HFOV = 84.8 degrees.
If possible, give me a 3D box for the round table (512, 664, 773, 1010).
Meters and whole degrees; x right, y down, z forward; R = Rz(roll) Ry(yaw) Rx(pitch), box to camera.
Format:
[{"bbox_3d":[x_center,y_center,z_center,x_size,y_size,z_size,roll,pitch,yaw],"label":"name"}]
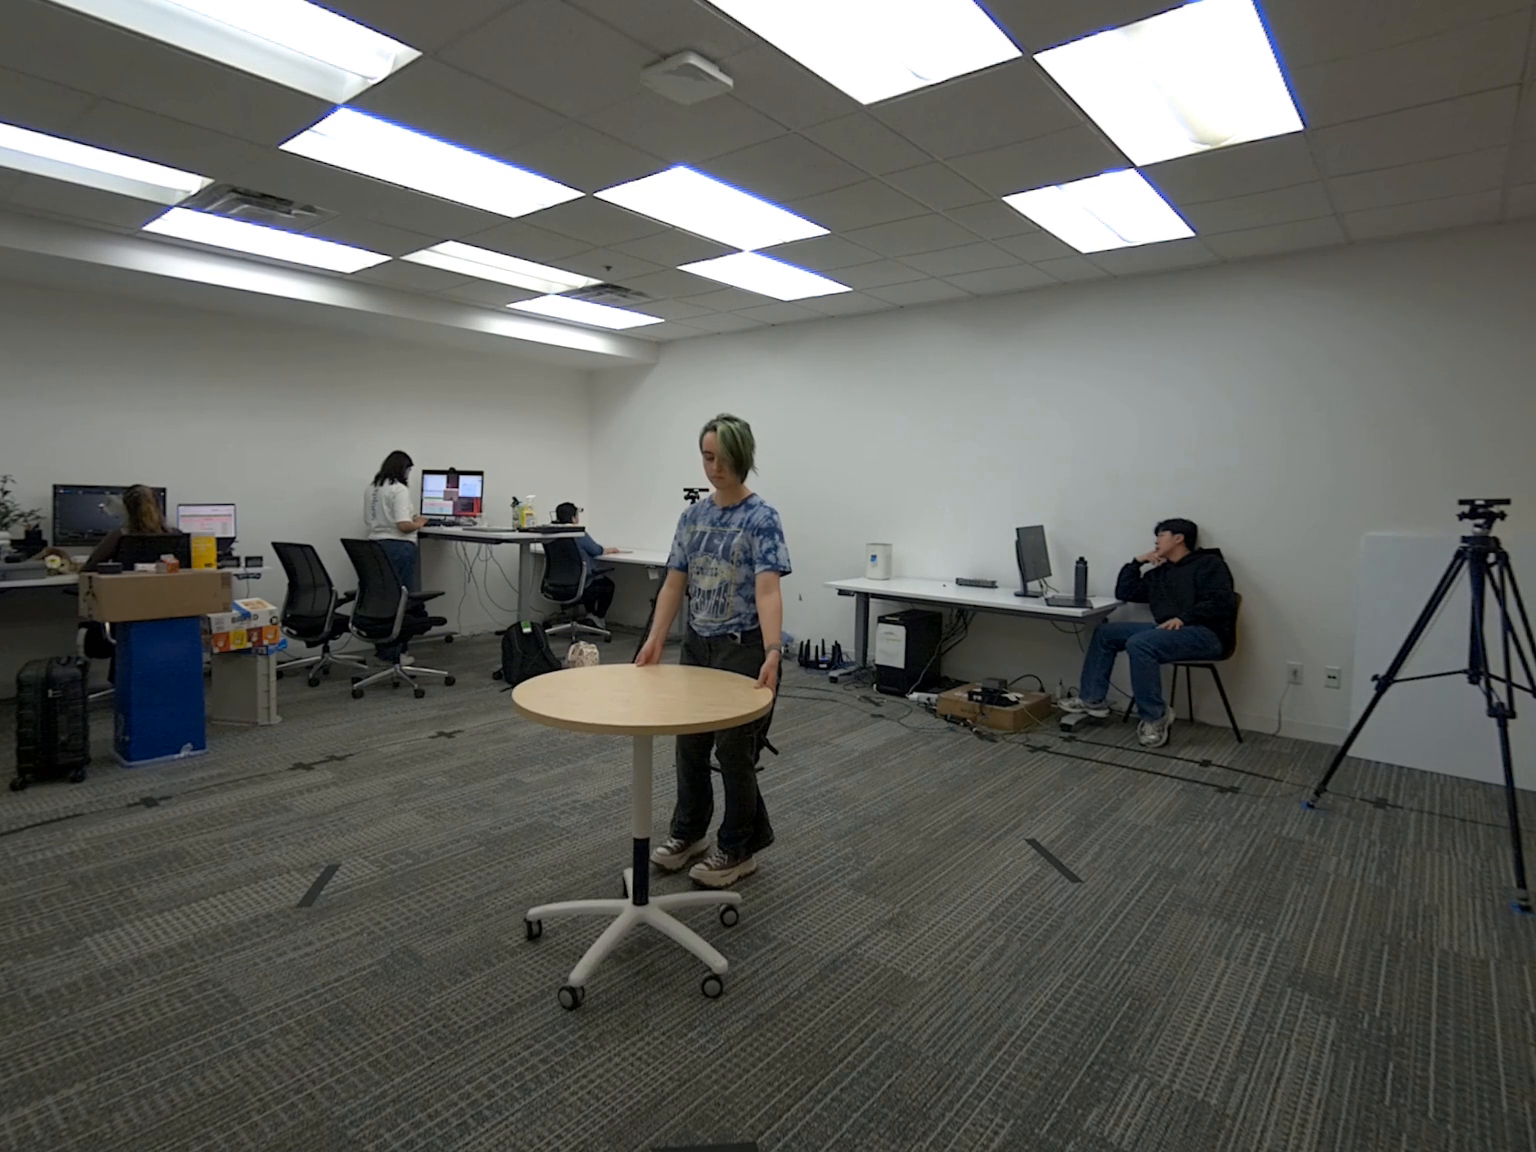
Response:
[{"bbox_3d":[-0.392,0.729,2.553,0.763,0.791,0.768,1,5,-2],"label":"round table"}]
